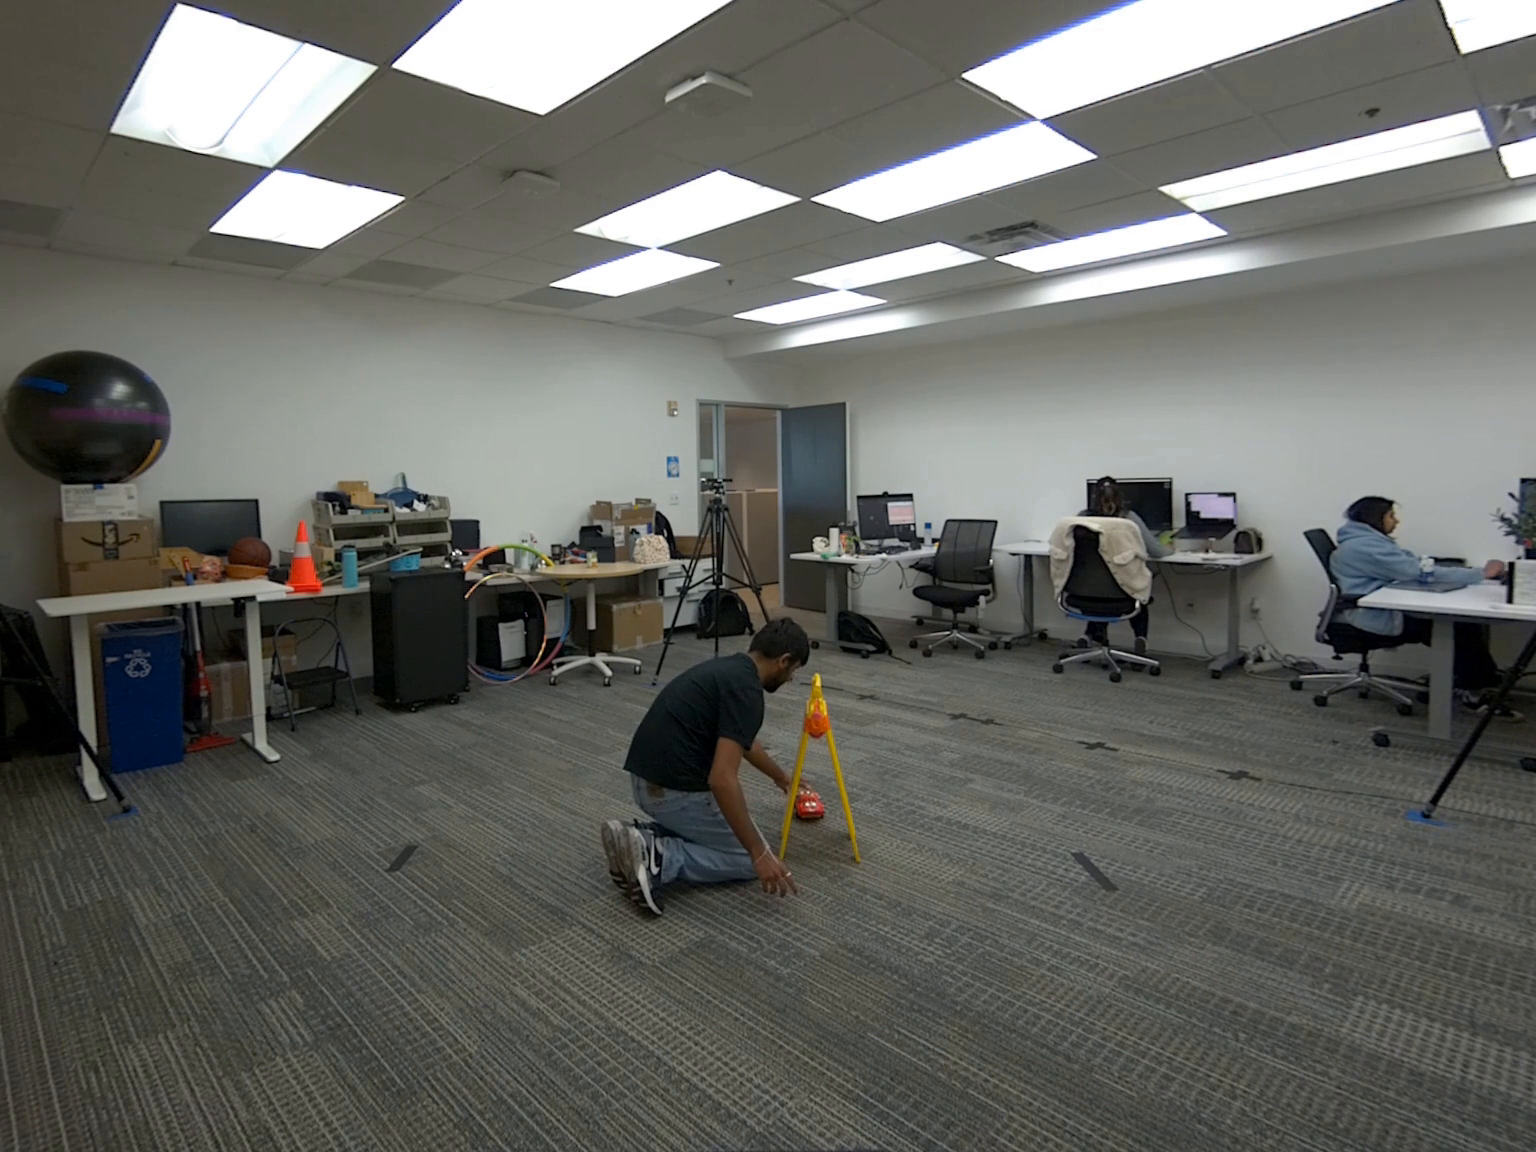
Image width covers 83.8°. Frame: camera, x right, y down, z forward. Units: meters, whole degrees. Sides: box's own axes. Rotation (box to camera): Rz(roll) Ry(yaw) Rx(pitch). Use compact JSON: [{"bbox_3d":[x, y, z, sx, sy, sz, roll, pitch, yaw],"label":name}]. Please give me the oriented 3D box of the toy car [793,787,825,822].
[{"bbox_3d":[0.167,0.953,3.568,0.130,0.084,0.253,-1,-6,-2],"label":"toy car"}]
